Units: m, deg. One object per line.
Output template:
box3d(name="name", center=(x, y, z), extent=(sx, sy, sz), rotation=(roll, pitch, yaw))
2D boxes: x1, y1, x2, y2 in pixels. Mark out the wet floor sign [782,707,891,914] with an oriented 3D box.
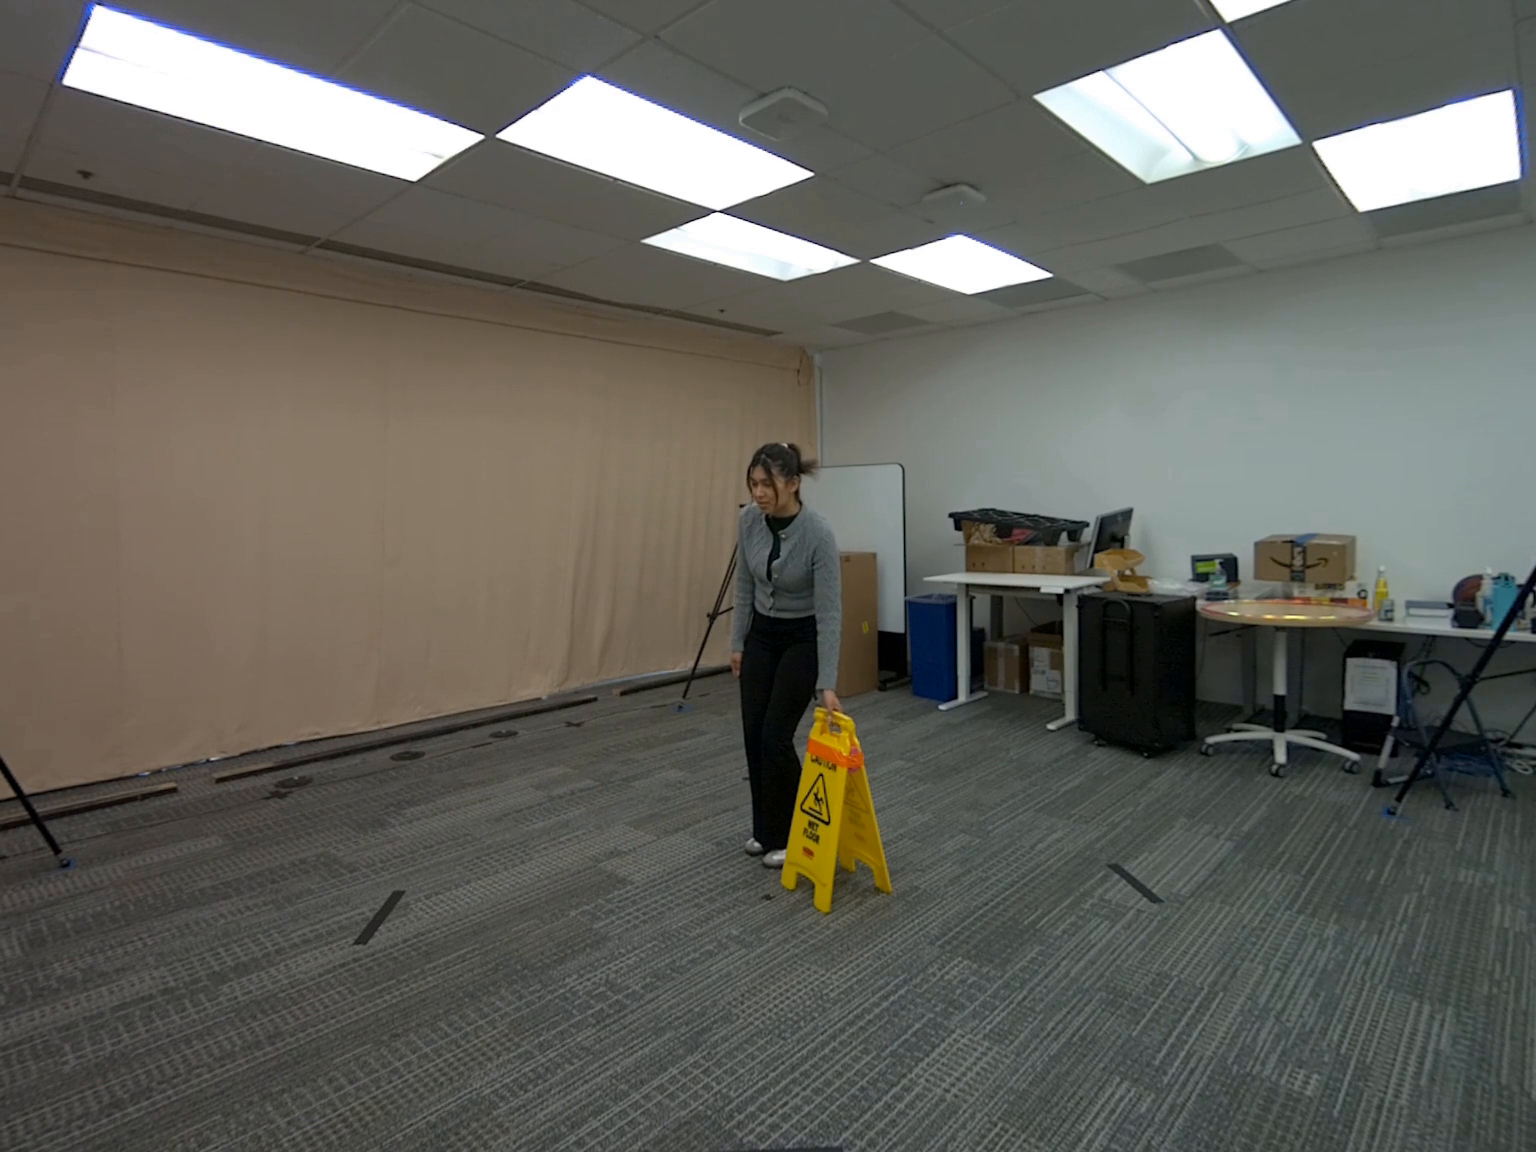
box3d(name="wet floor sign", center=(0.243, 0.807, 3.023), extent=(0.282, 0.645, 0.291), rotation=(-3, 3, -32))
